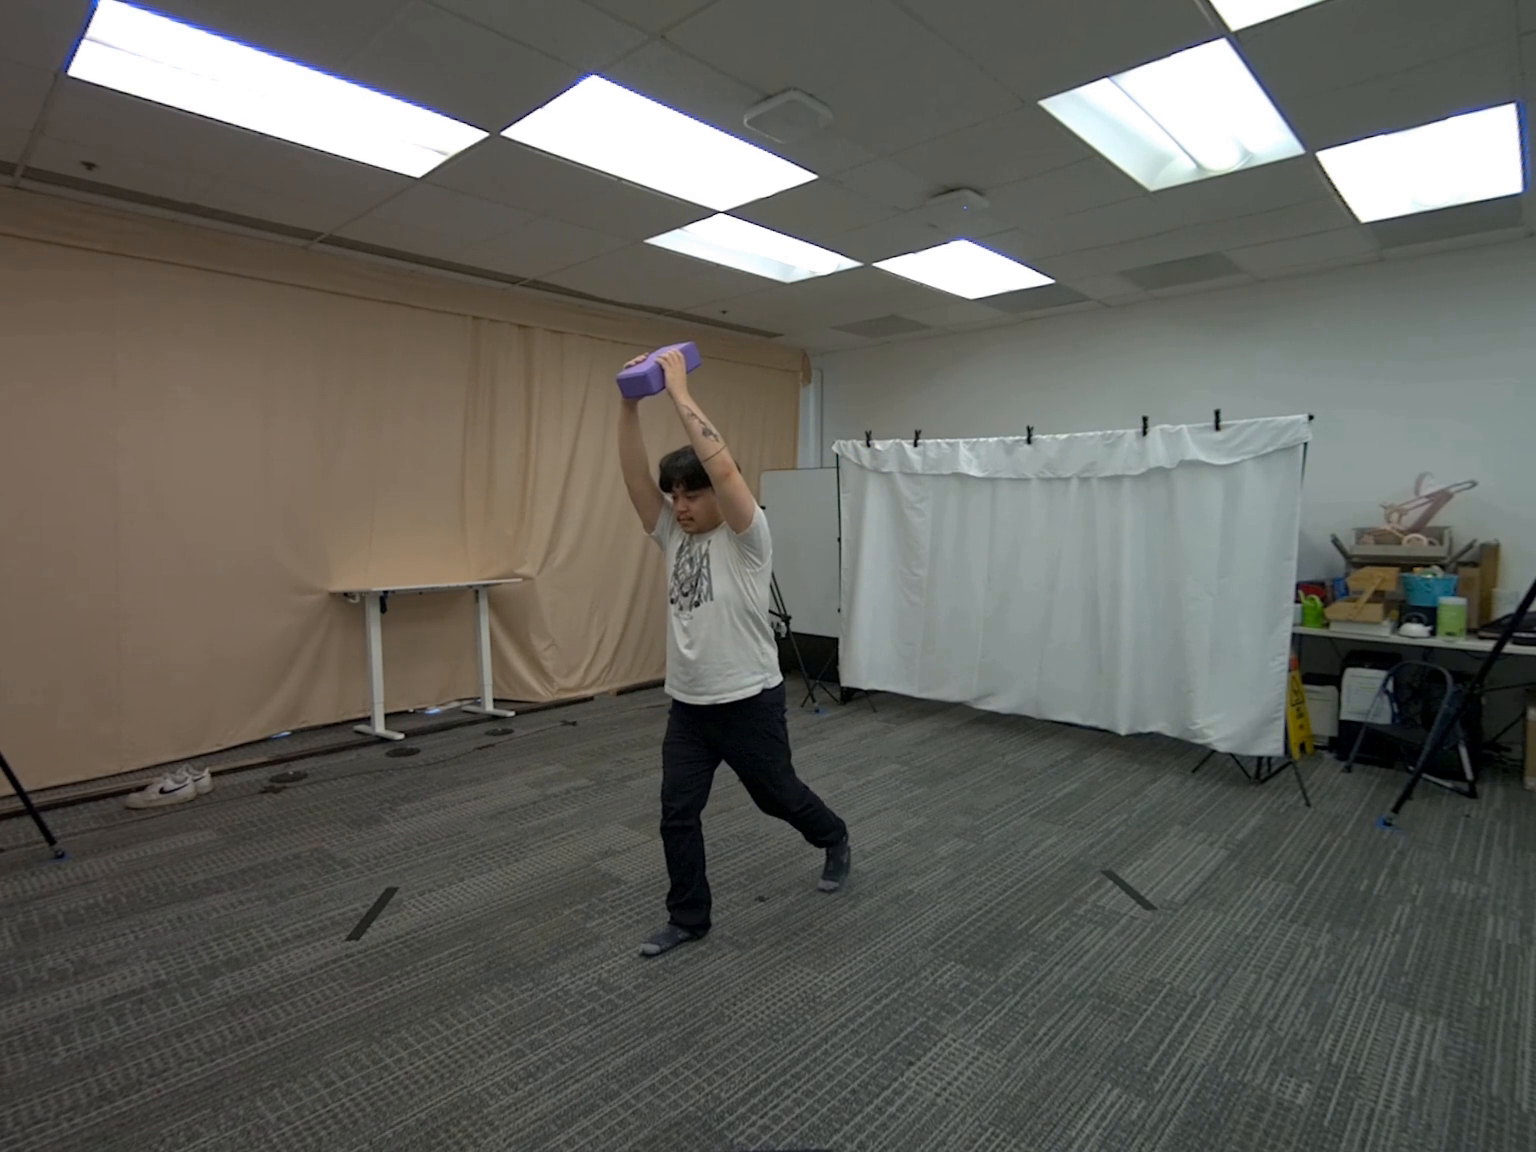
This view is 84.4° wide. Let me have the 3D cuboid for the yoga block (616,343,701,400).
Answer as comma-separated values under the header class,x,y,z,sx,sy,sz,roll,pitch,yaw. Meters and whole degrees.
class,x,y,z,sx,sy,sz,roll,pitch,yaw
yoga block,-0.320,-0.613,2.536,0.154,0.075,0.227,5,37,42
